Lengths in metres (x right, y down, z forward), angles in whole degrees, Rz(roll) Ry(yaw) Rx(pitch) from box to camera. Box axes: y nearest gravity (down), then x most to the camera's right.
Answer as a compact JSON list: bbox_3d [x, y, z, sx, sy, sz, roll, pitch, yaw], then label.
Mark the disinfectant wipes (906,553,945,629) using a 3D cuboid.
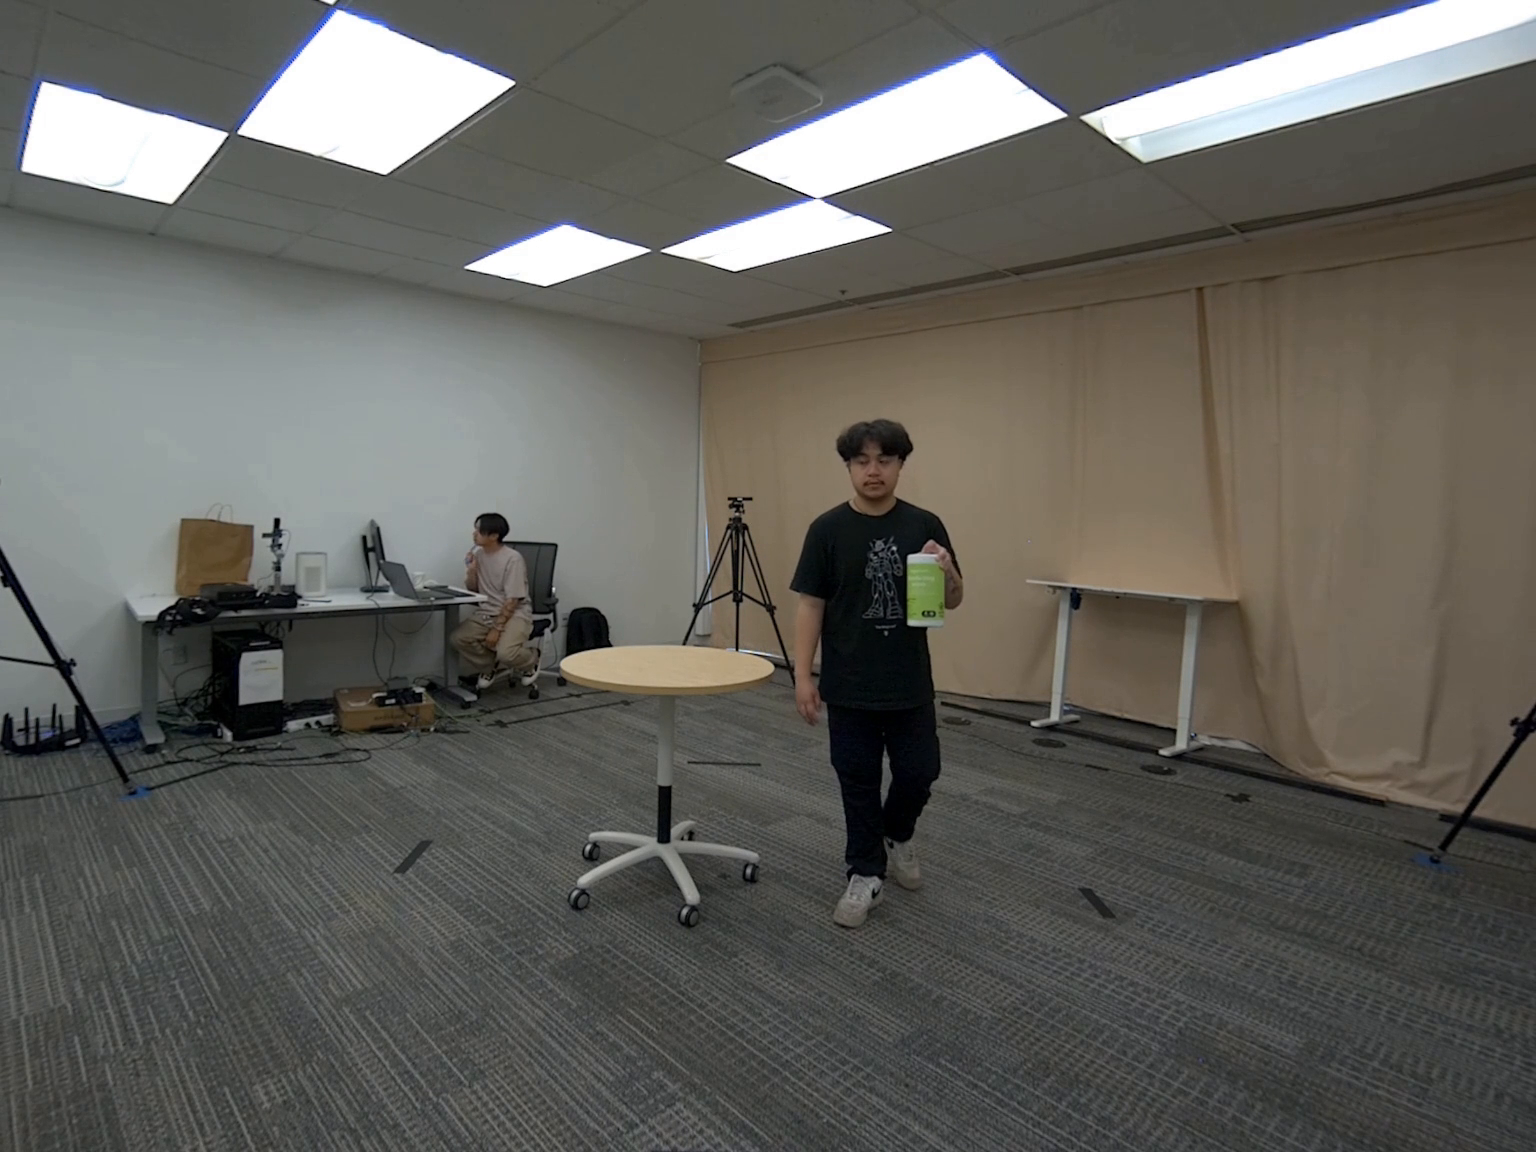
[{"bbox_3d":[0.457,0.045,2.524,0.118,0.217,0.118,-1,-1,-1],"label":"disinfectant wipes"}]
